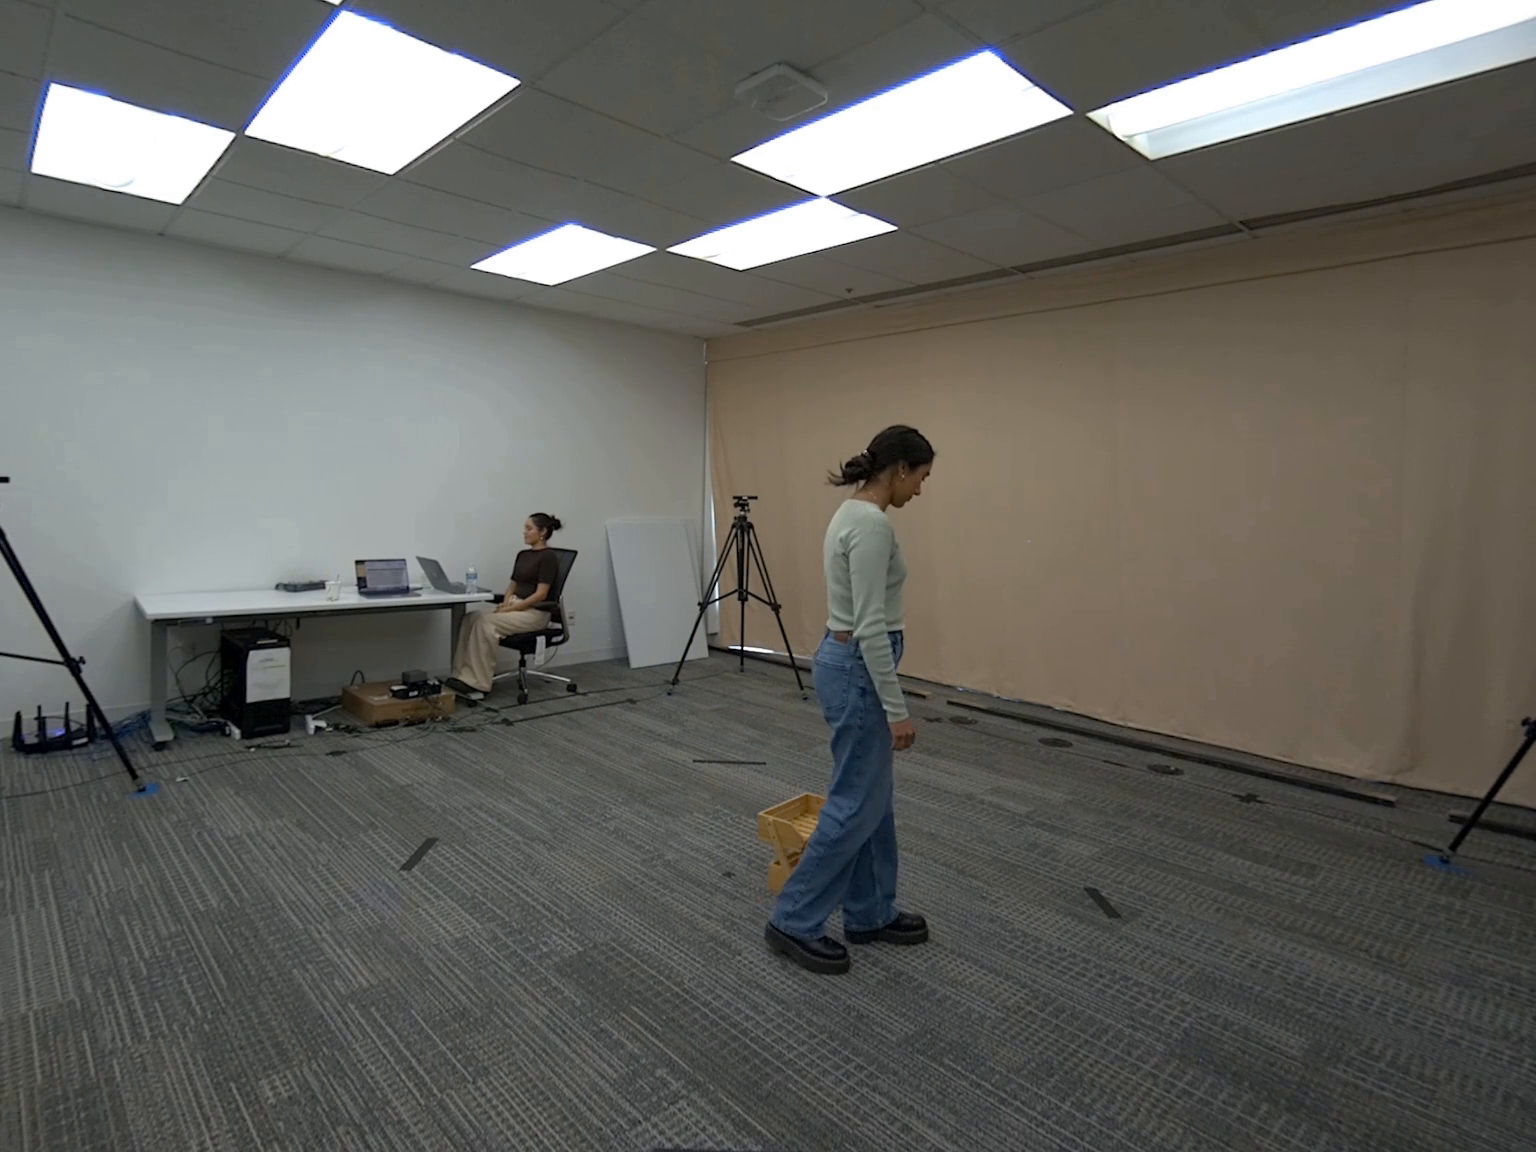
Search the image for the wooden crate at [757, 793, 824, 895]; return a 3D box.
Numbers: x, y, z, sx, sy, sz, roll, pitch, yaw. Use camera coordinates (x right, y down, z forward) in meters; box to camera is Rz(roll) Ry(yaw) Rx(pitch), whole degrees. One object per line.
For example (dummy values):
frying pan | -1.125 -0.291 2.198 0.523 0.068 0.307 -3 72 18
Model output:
wooden crate | 0.166 0.982 3.042 0.309 0.272 0.317 3 5 38
